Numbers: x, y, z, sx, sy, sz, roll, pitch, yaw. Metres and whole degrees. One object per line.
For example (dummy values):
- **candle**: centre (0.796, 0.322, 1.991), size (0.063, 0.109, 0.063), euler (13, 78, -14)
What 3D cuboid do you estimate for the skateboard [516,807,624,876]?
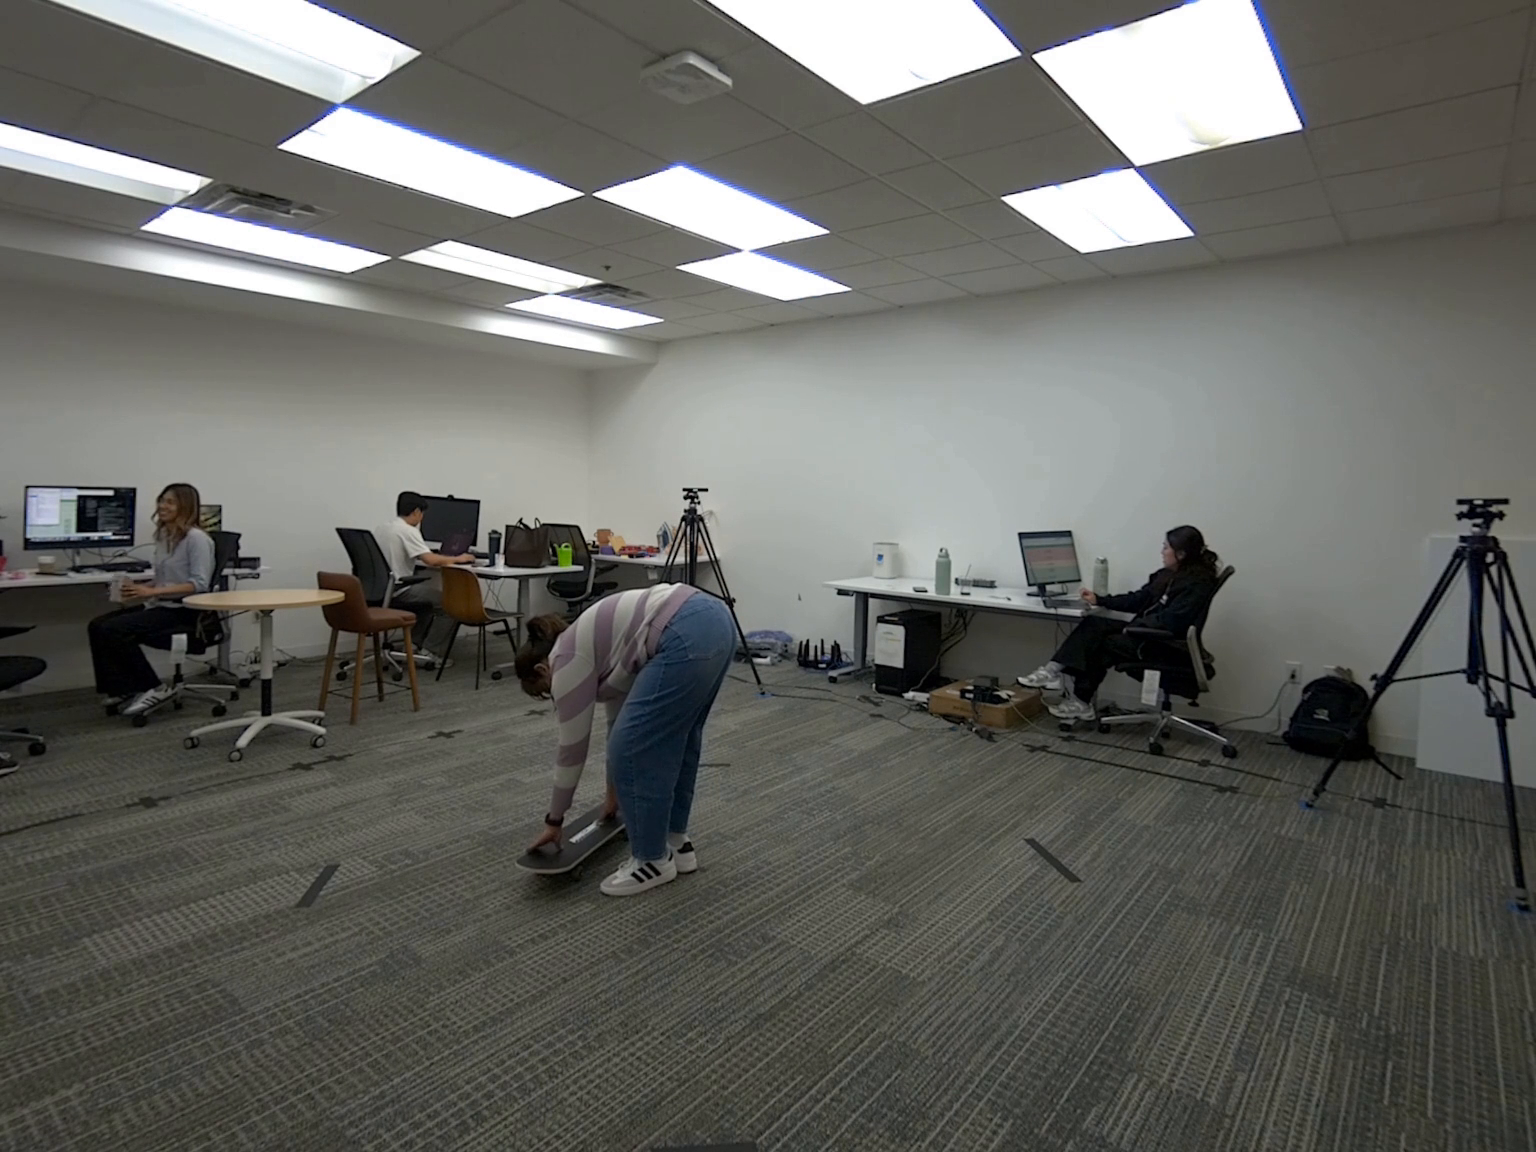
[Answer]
- **skateboard**: centre (-0.702, 0.996, 3.212), size (0.197, 0.110, 0.772), euler (4, 6, 18)
